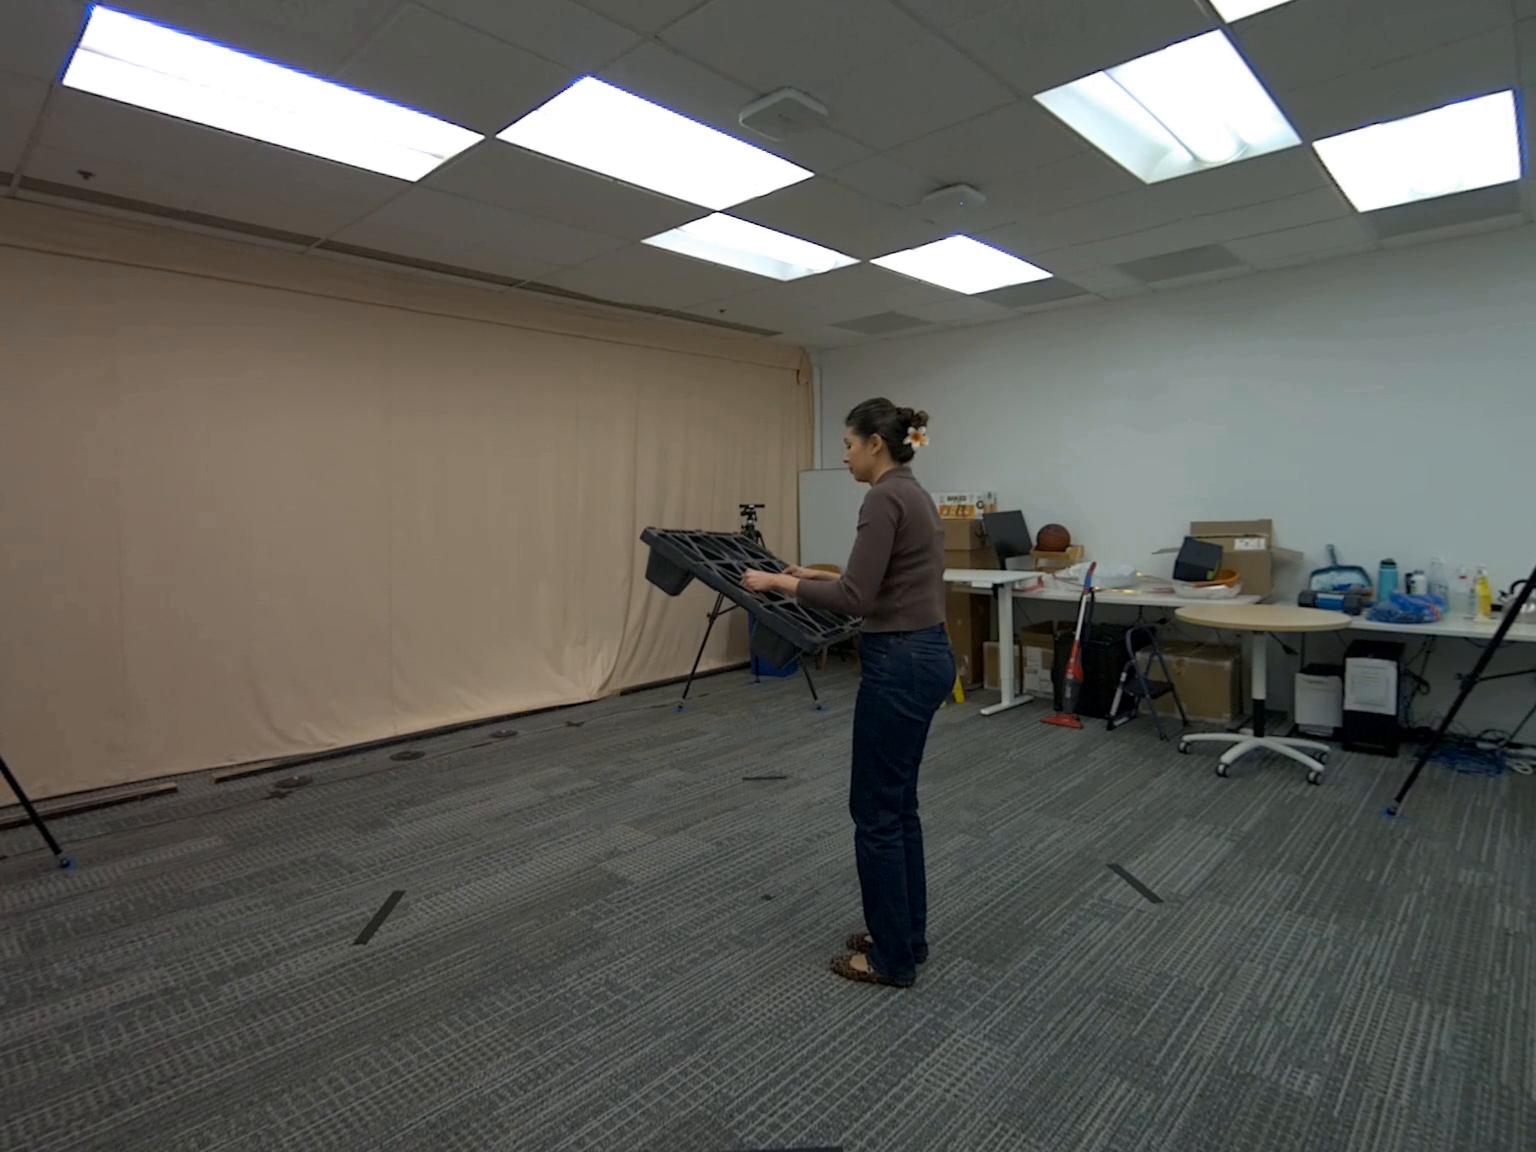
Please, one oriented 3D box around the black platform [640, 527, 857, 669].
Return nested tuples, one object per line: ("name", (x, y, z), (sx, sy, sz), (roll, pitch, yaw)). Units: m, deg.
("black platform", (-0.019, 0.063, 2.666), (0.619, 0.143, 0.788), (33, 12, 17))
